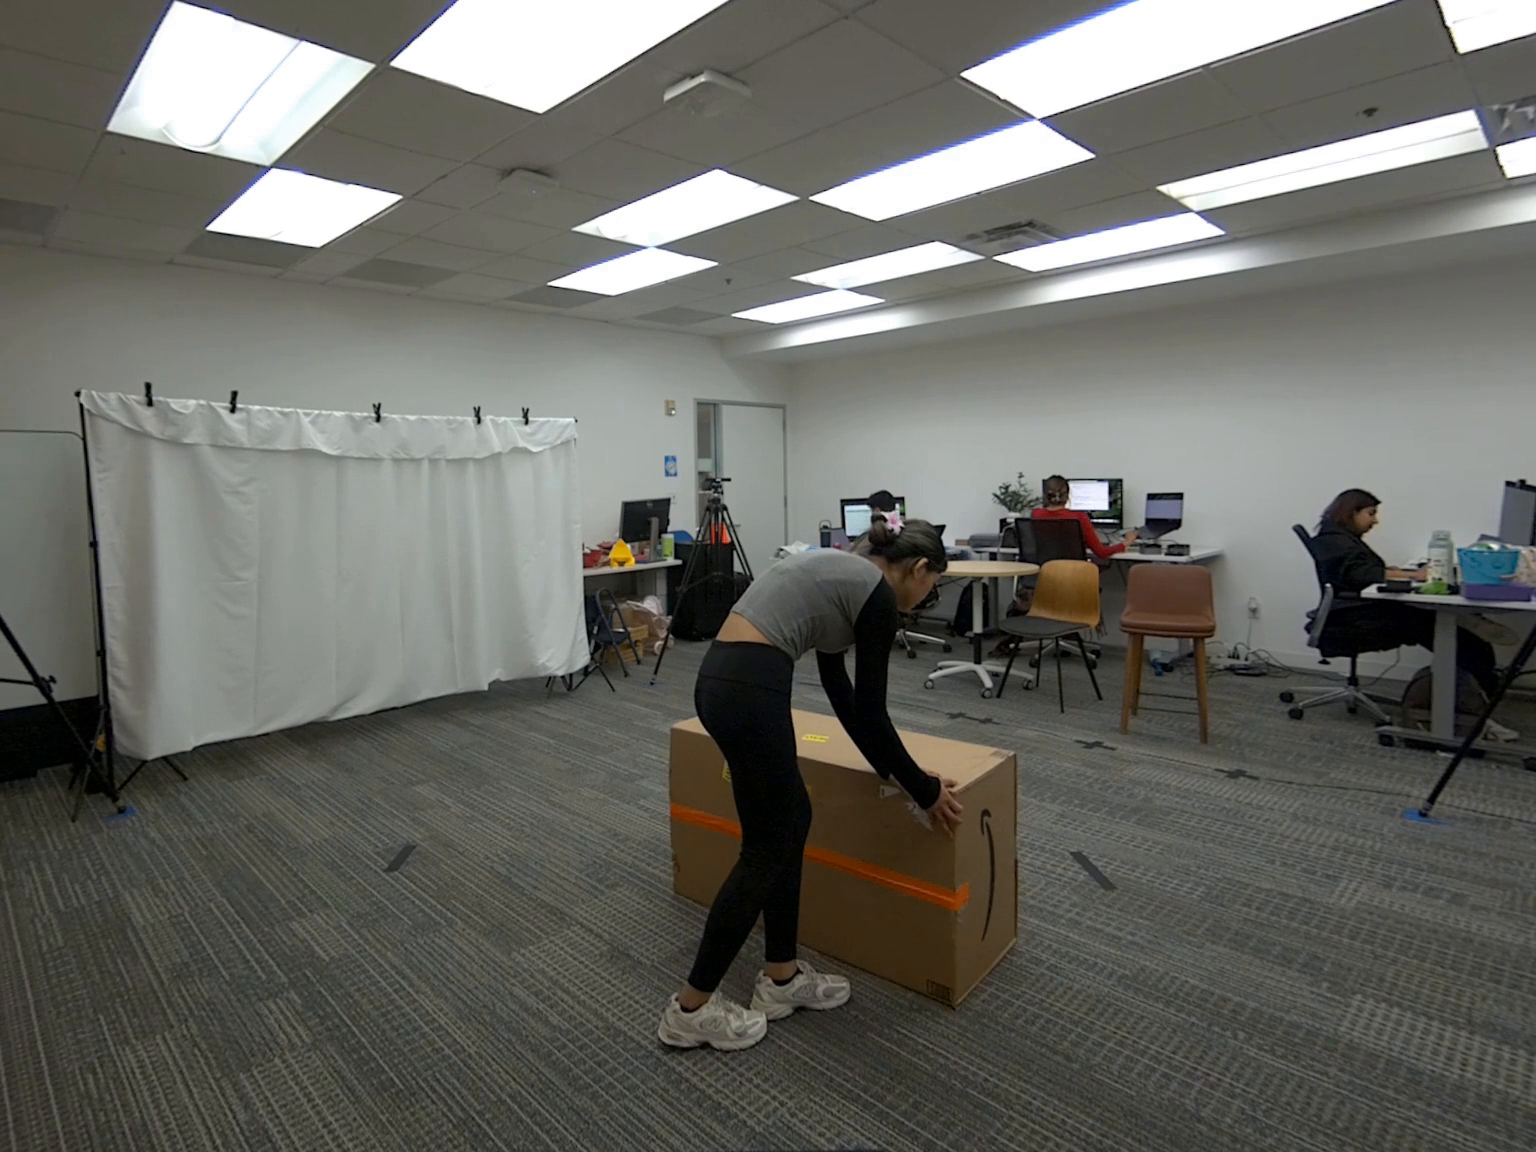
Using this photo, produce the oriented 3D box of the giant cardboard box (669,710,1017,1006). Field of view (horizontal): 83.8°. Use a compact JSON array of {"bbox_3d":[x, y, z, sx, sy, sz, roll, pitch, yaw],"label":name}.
[{"bbox_3d":[0.206,0.797,2.708,1.058,0.581,0.436,3,7,38],"label":"giant cardboard box"}]
